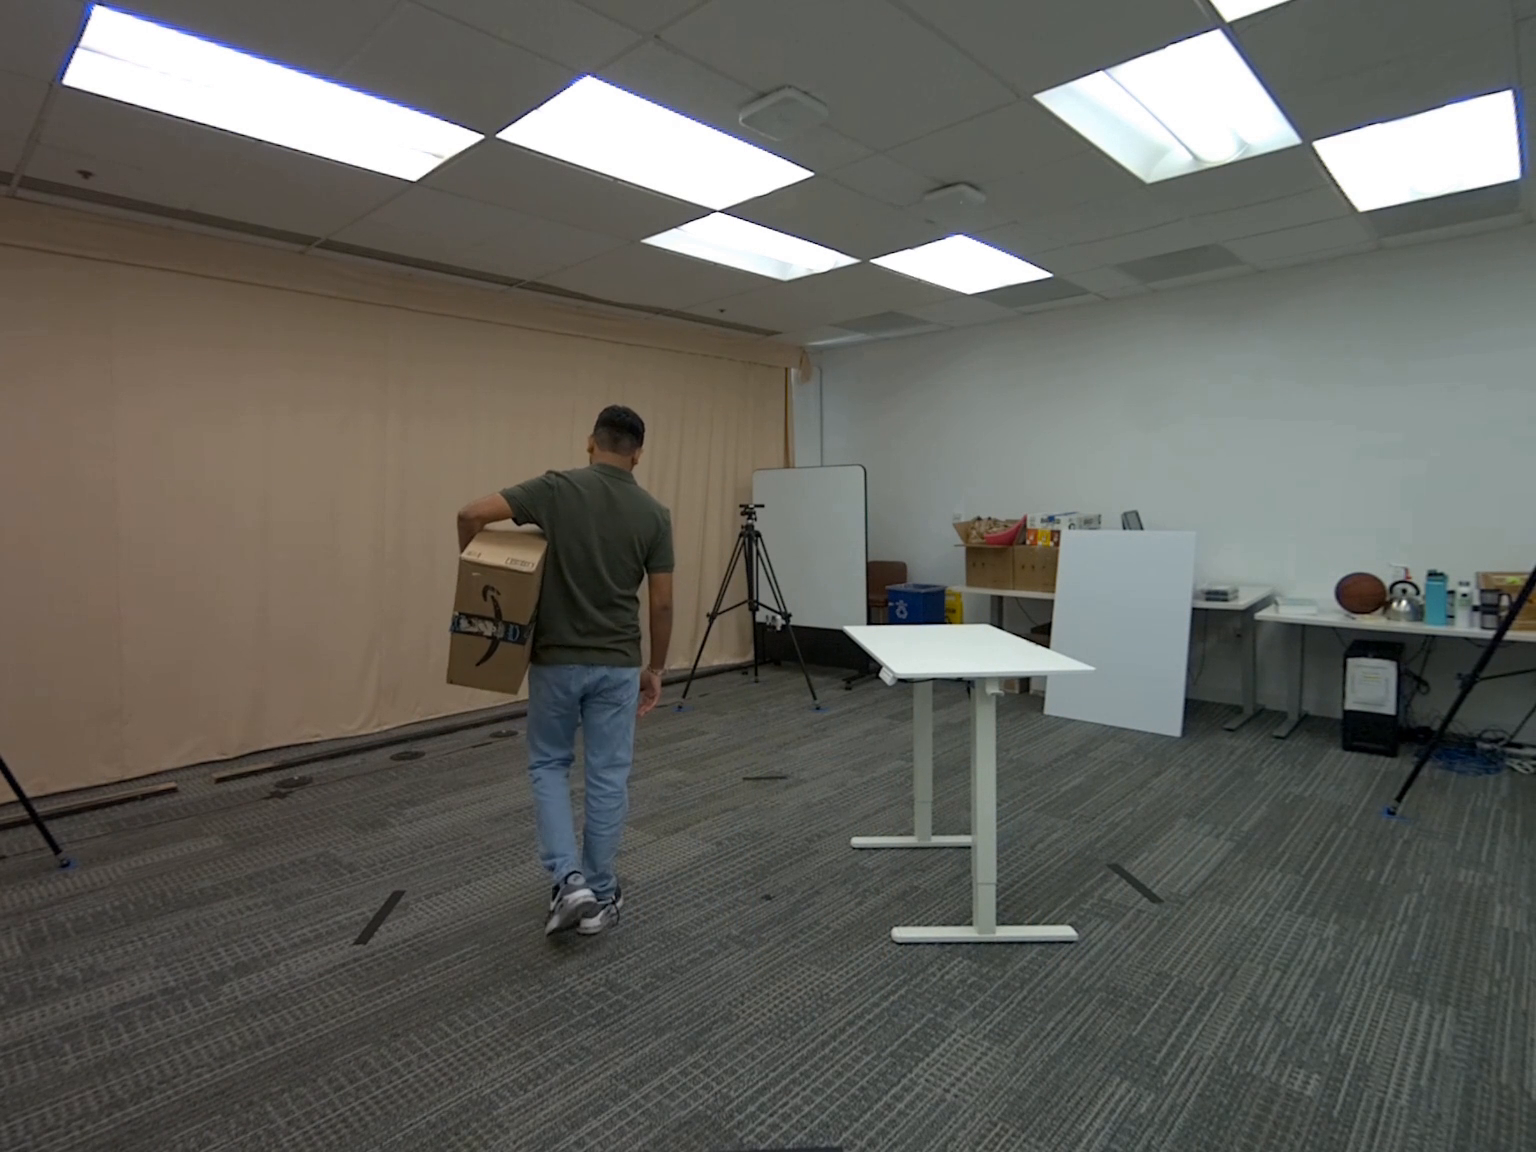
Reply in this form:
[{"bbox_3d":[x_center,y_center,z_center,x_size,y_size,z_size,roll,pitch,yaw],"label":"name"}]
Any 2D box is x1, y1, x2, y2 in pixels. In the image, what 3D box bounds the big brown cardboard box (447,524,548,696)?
[{"bbox_3d":[-0.827,0.053,2.708,0.232,0.414,0.596,10,20,-6],"label":"big brown cardboard box"}]
